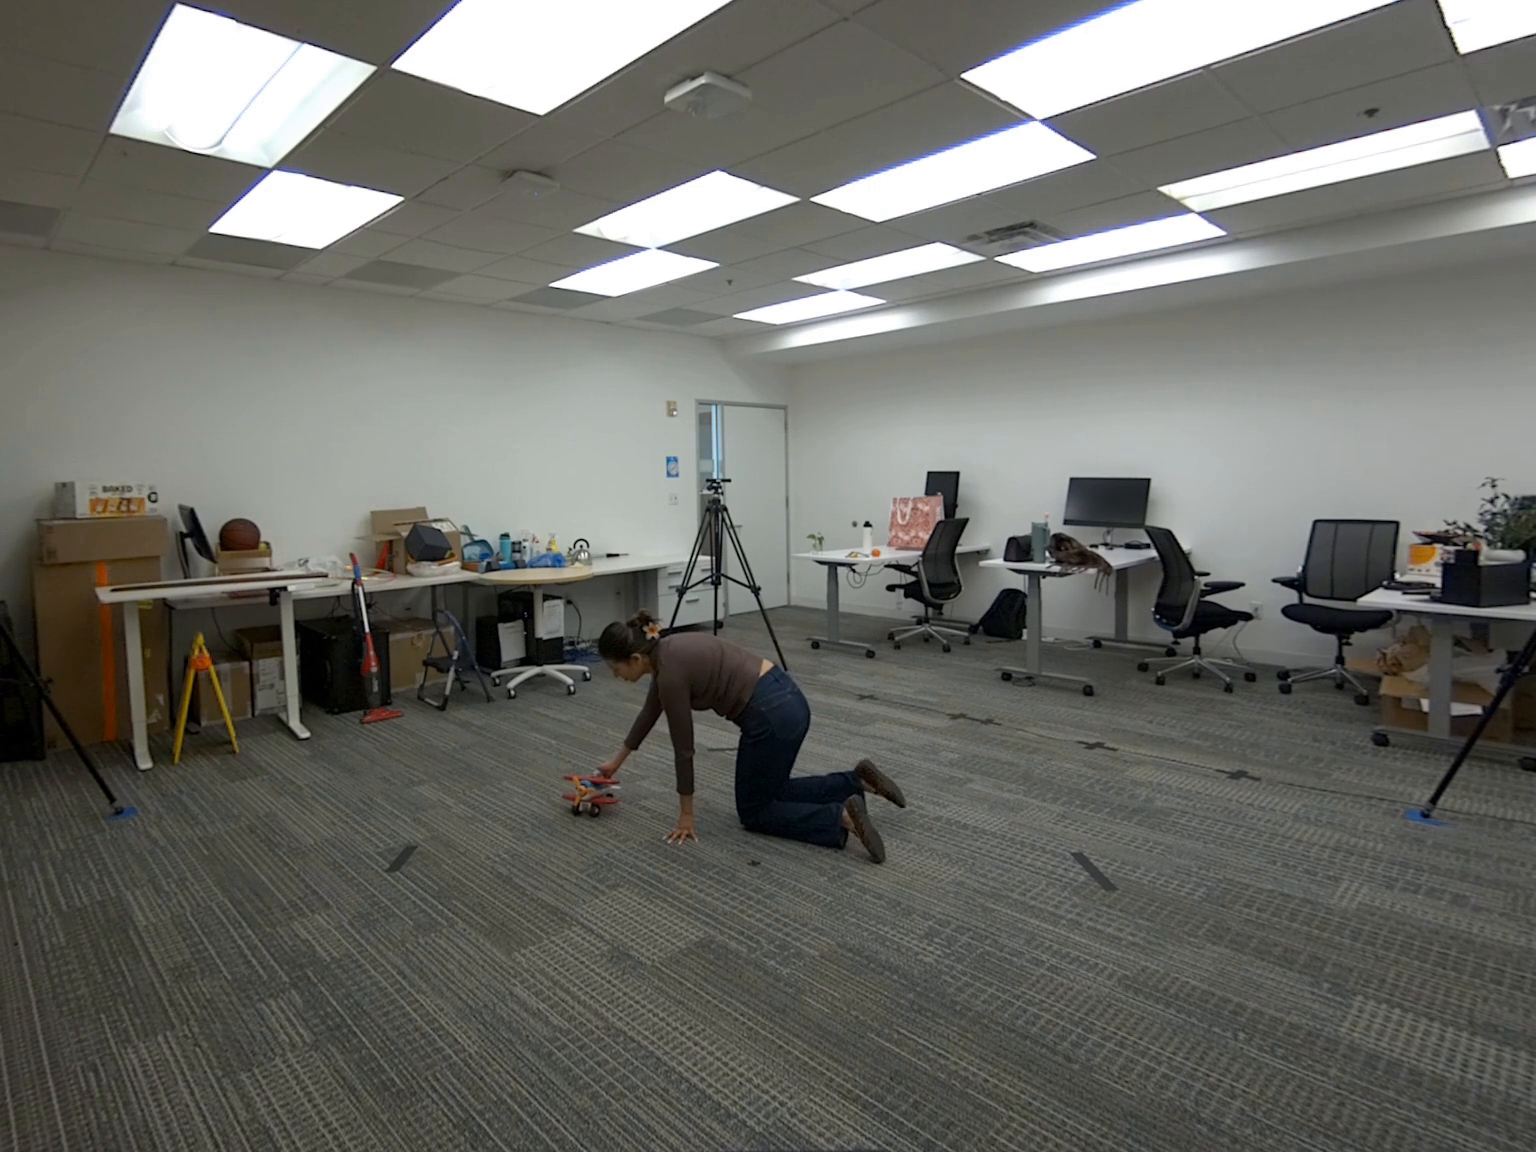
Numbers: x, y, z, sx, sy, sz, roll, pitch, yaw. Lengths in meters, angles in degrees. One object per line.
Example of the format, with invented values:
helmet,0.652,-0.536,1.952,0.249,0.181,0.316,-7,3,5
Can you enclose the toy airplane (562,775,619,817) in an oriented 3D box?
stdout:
toy airplane,-0.756,0.924,3.671,0.249,0.156,0.262,-1,5,-9
